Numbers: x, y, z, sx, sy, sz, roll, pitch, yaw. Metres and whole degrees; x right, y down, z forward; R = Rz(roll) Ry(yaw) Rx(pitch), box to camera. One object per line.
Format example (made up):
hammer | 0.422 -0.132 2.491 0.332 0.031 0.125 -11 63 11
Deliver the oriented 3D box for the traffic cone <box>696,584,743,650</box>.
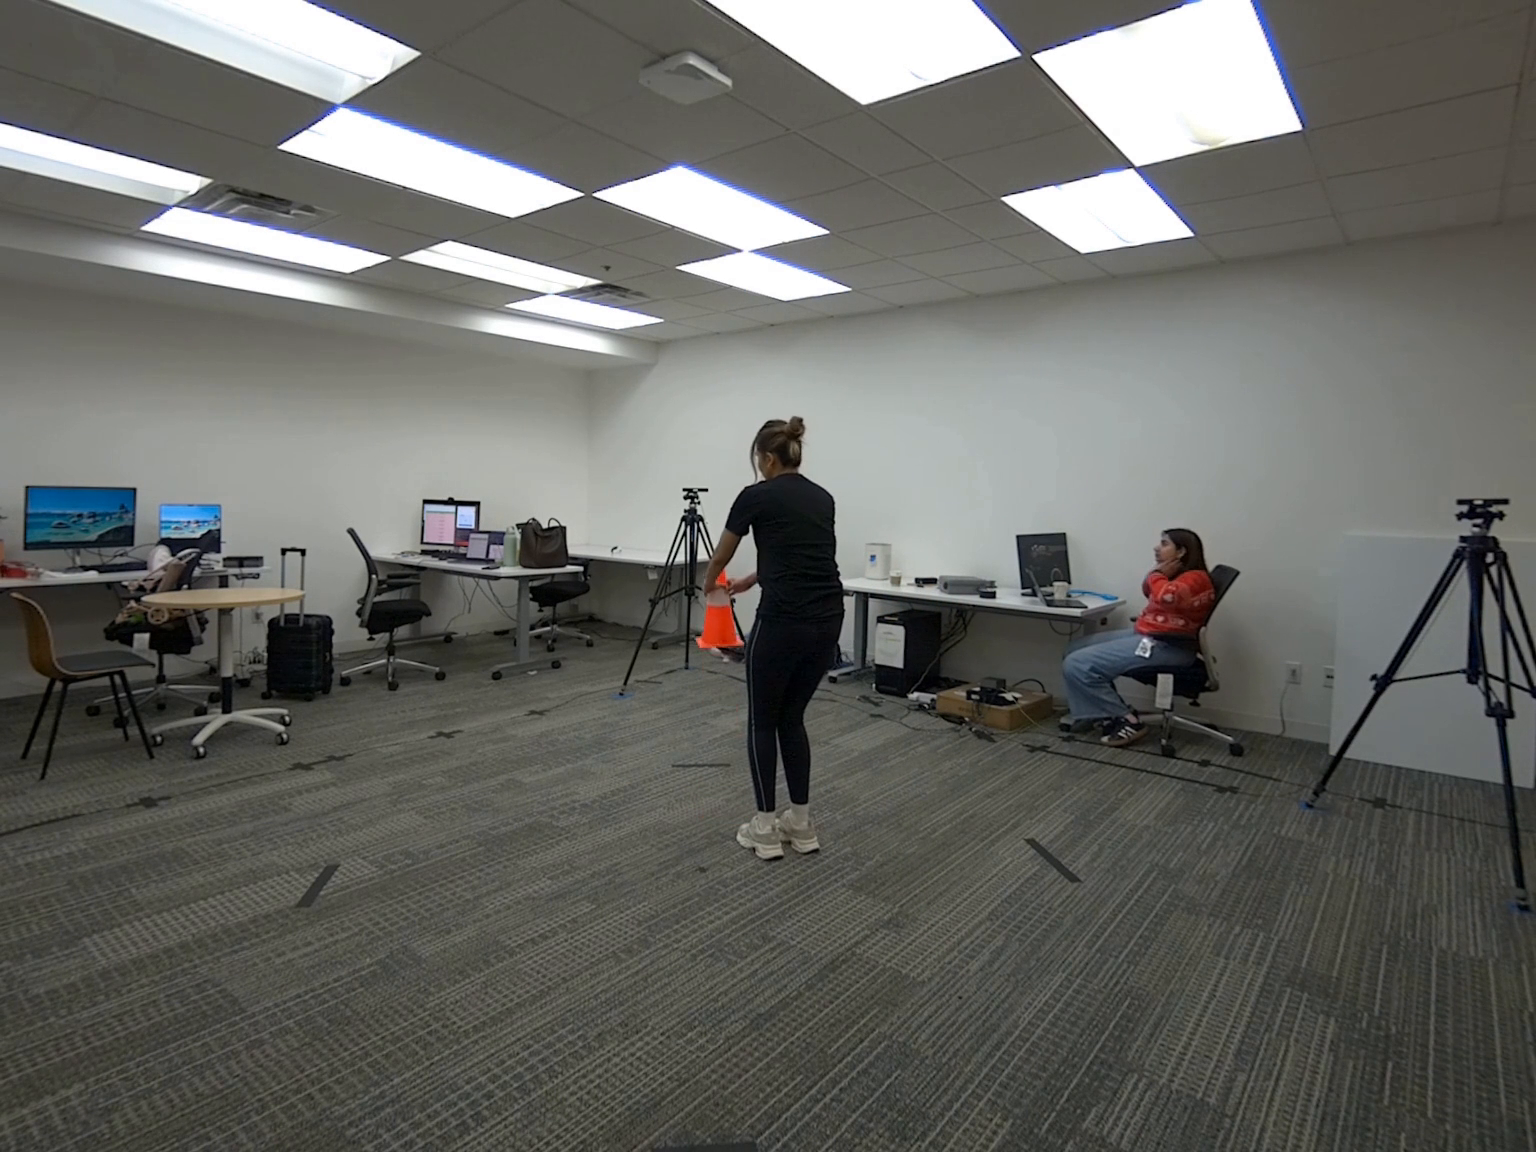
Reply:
traffic cone | -0.224 0.107 3.775 0.201 0.381 0.208 0 8 -16
